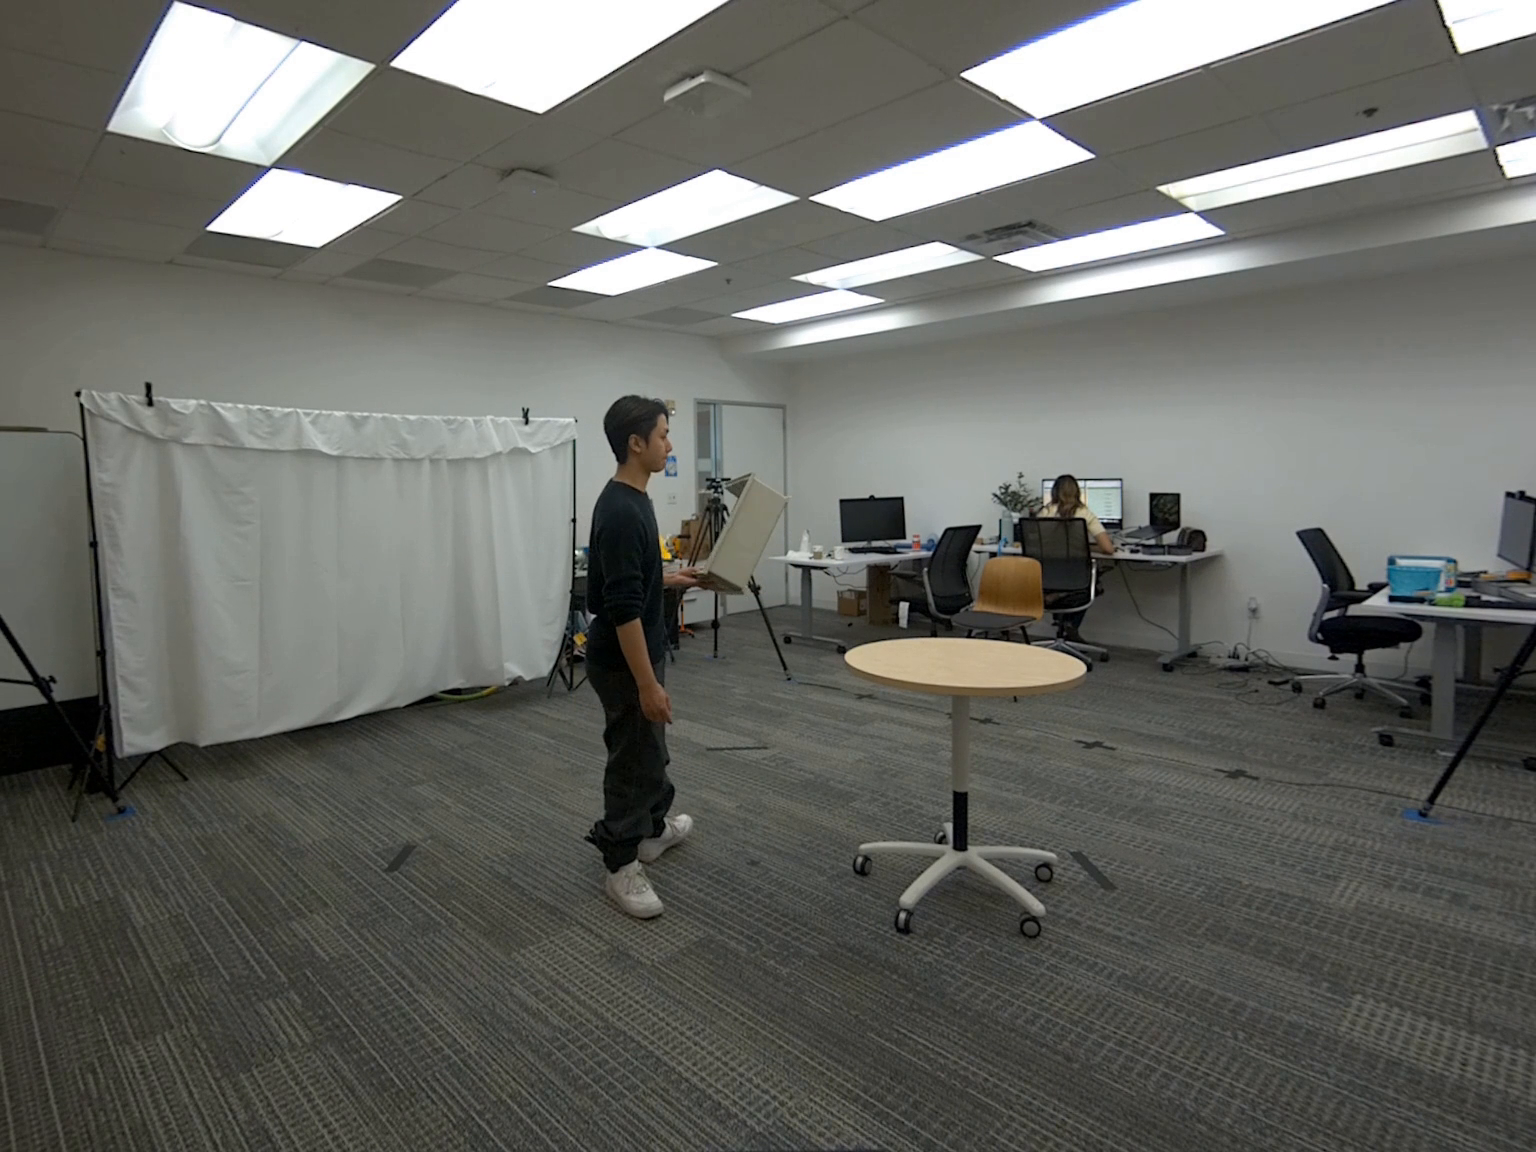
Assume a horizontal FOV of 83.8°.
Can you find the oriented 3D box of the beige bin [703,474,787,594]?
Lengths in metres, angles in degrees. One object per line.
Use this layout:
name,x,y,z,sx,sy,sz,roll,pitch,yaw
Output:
beige bin,-0.137,-0.153,3.298,0.185,0.424,0.384,31,-12,-18
